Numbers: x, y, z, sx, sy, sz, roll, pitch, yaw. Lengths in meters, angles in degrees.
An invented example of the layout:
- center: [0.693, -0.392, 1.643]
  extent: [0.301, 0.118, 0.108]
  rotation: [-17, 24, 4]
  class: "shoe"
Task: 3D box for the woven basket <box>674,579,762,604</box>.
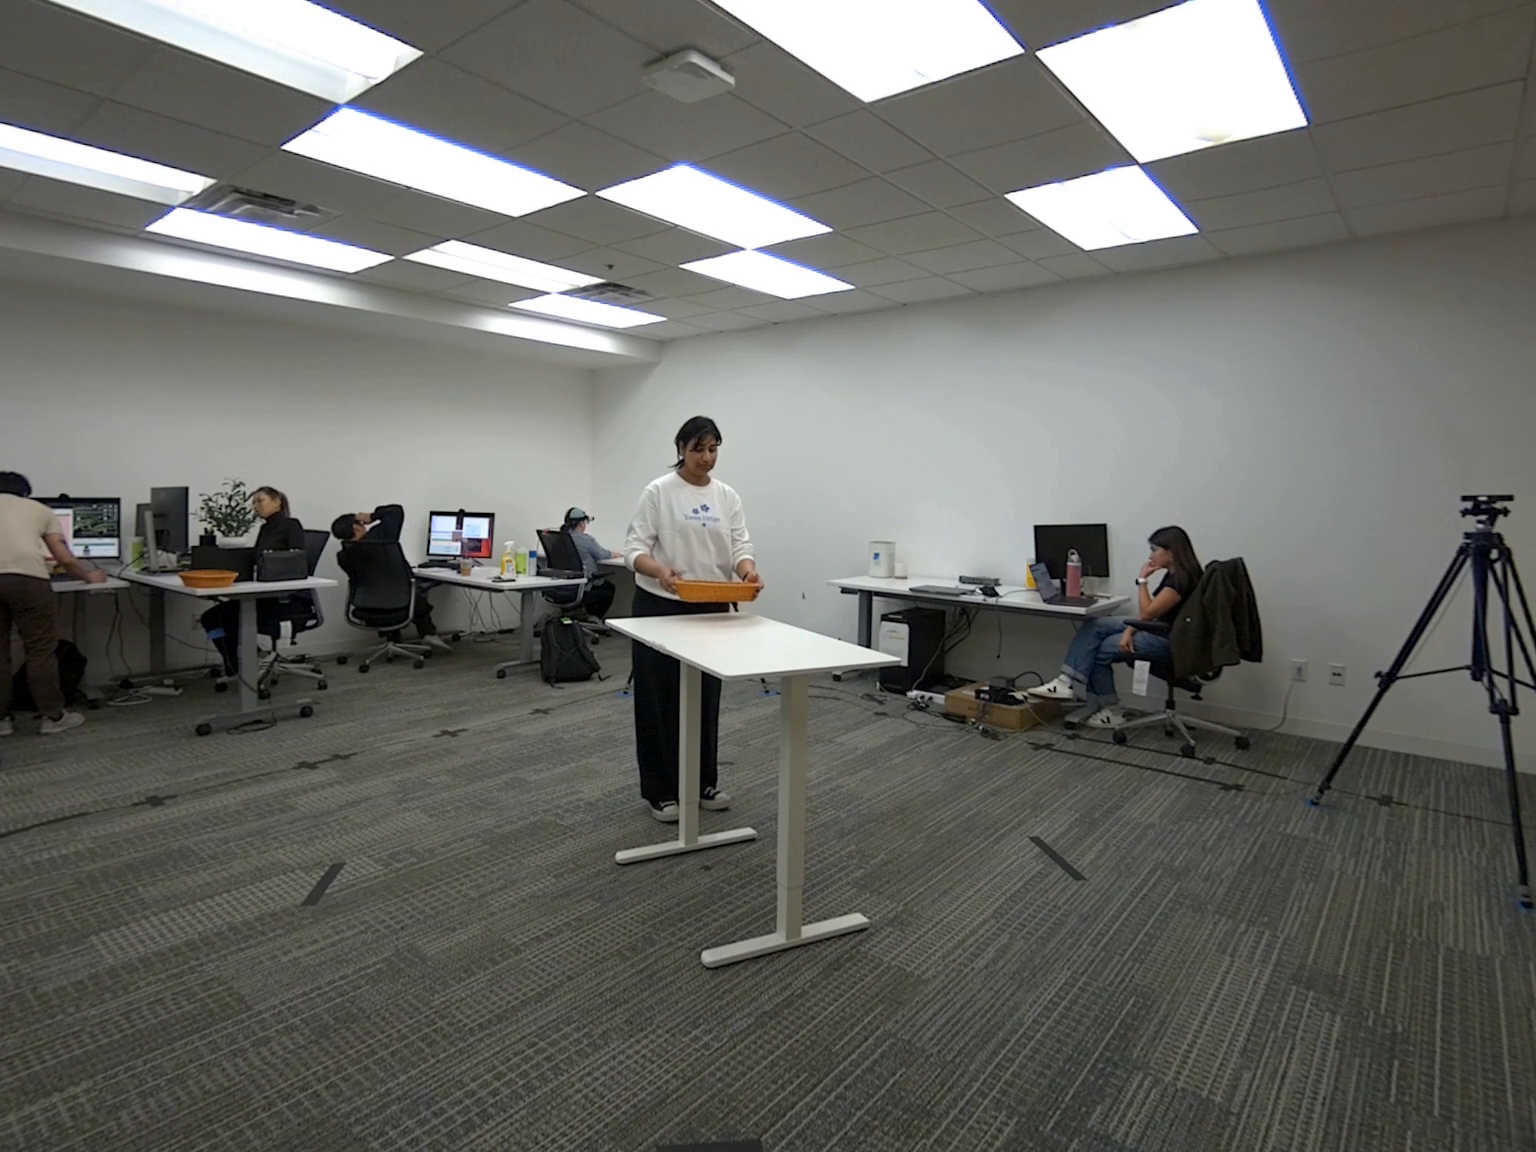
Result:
- center: [-0.177, 0.057, 3.310]
  extent: [0.342, 0.073, 0.259]
  rotation: [2, 4, -24]
  class: "woven basket"
